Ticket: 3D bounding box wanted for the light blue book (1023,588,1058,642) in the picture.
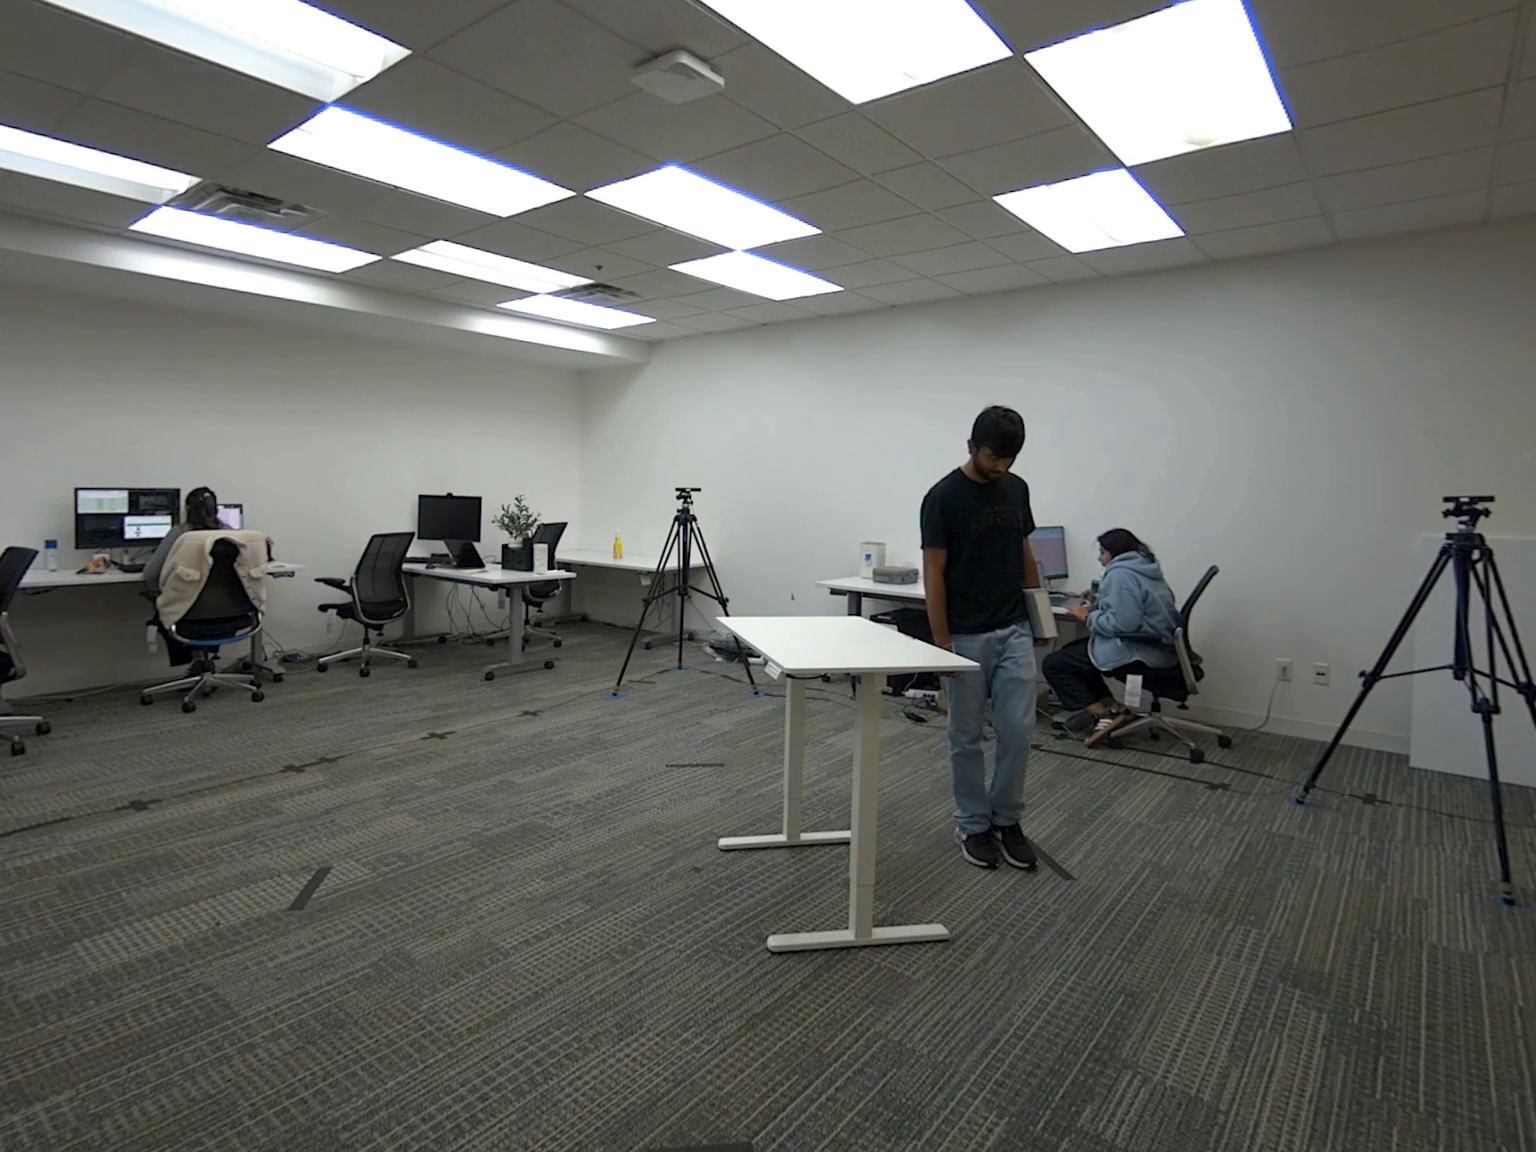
[{"bbox_3d":[0.990,0.140,3.315,0.058,0.192,0.263,-12,-1,-15],"label":"light blue book"}]
